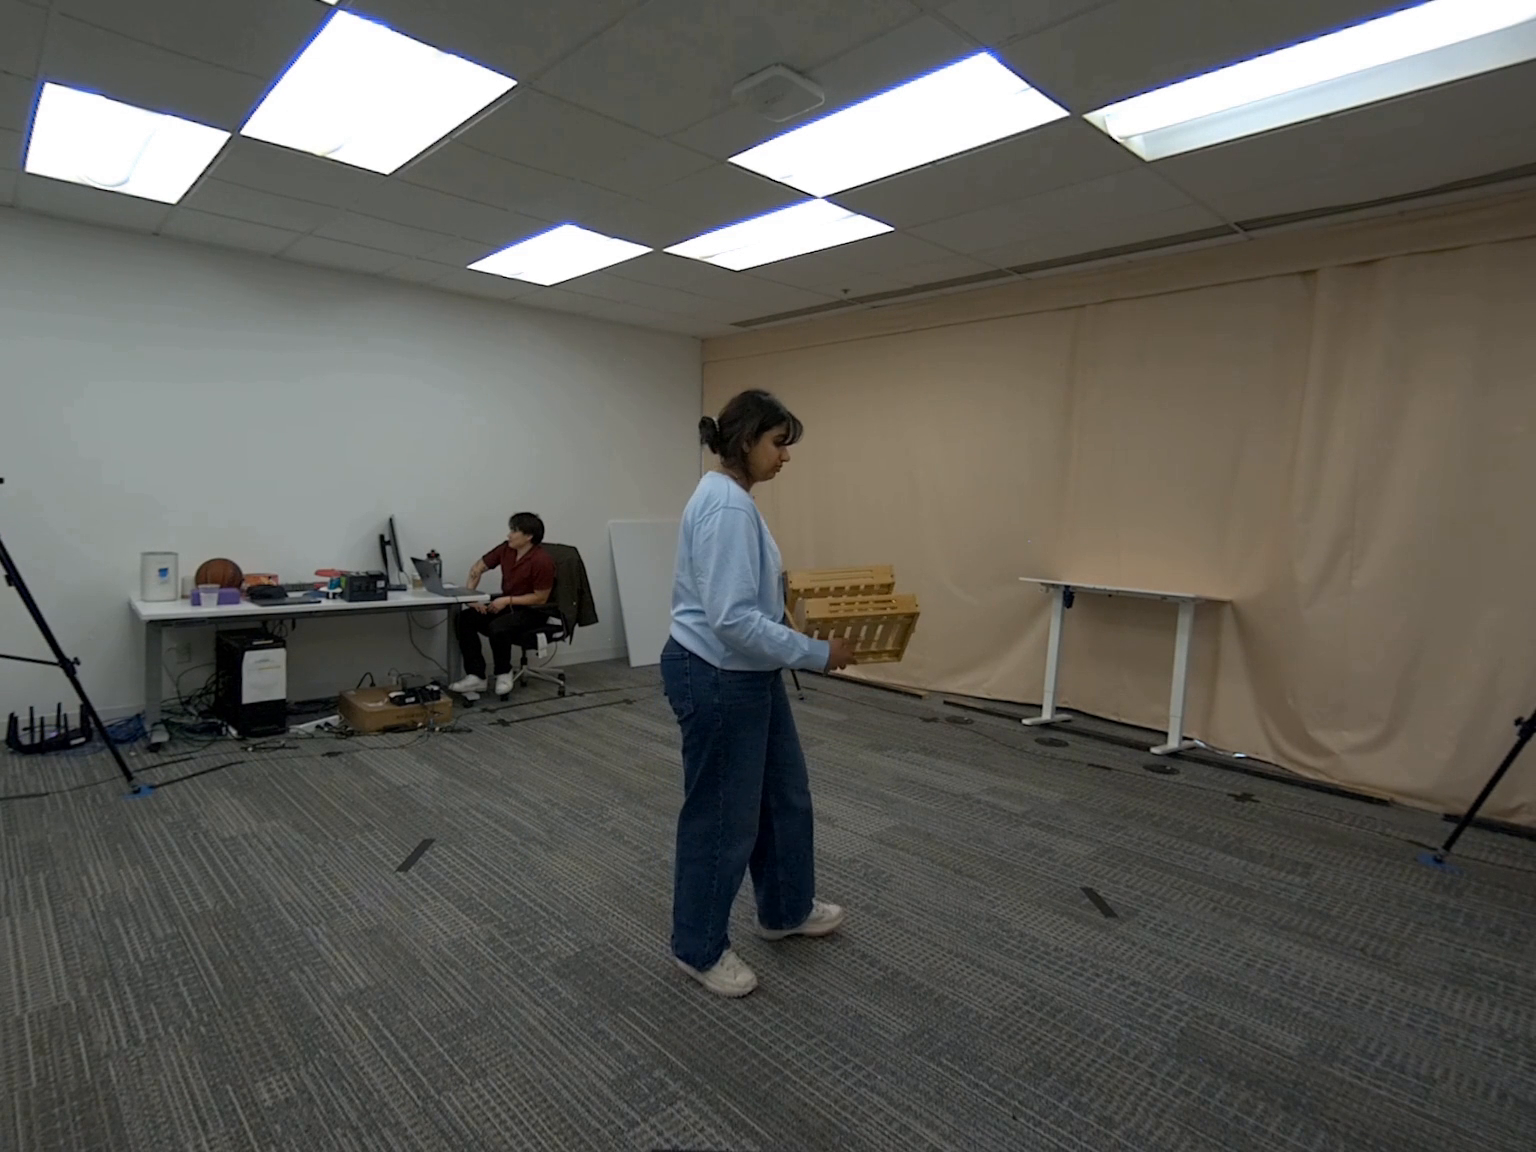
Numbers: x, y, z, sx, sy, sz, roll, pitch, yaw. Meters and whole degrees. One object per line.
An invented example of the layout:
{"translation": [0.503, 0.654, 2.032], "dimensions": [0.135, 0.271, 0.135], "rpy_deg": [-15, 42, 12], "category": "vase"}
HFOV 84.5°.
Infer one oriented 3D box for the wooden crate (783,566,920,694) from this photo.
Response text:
{"translation": [0.200, 0.082, 2.305], "dimensions": [0.322, 0.280, 0.296], "rpy_deg": [-5, -41, -10], "category": "wooden crate"}
